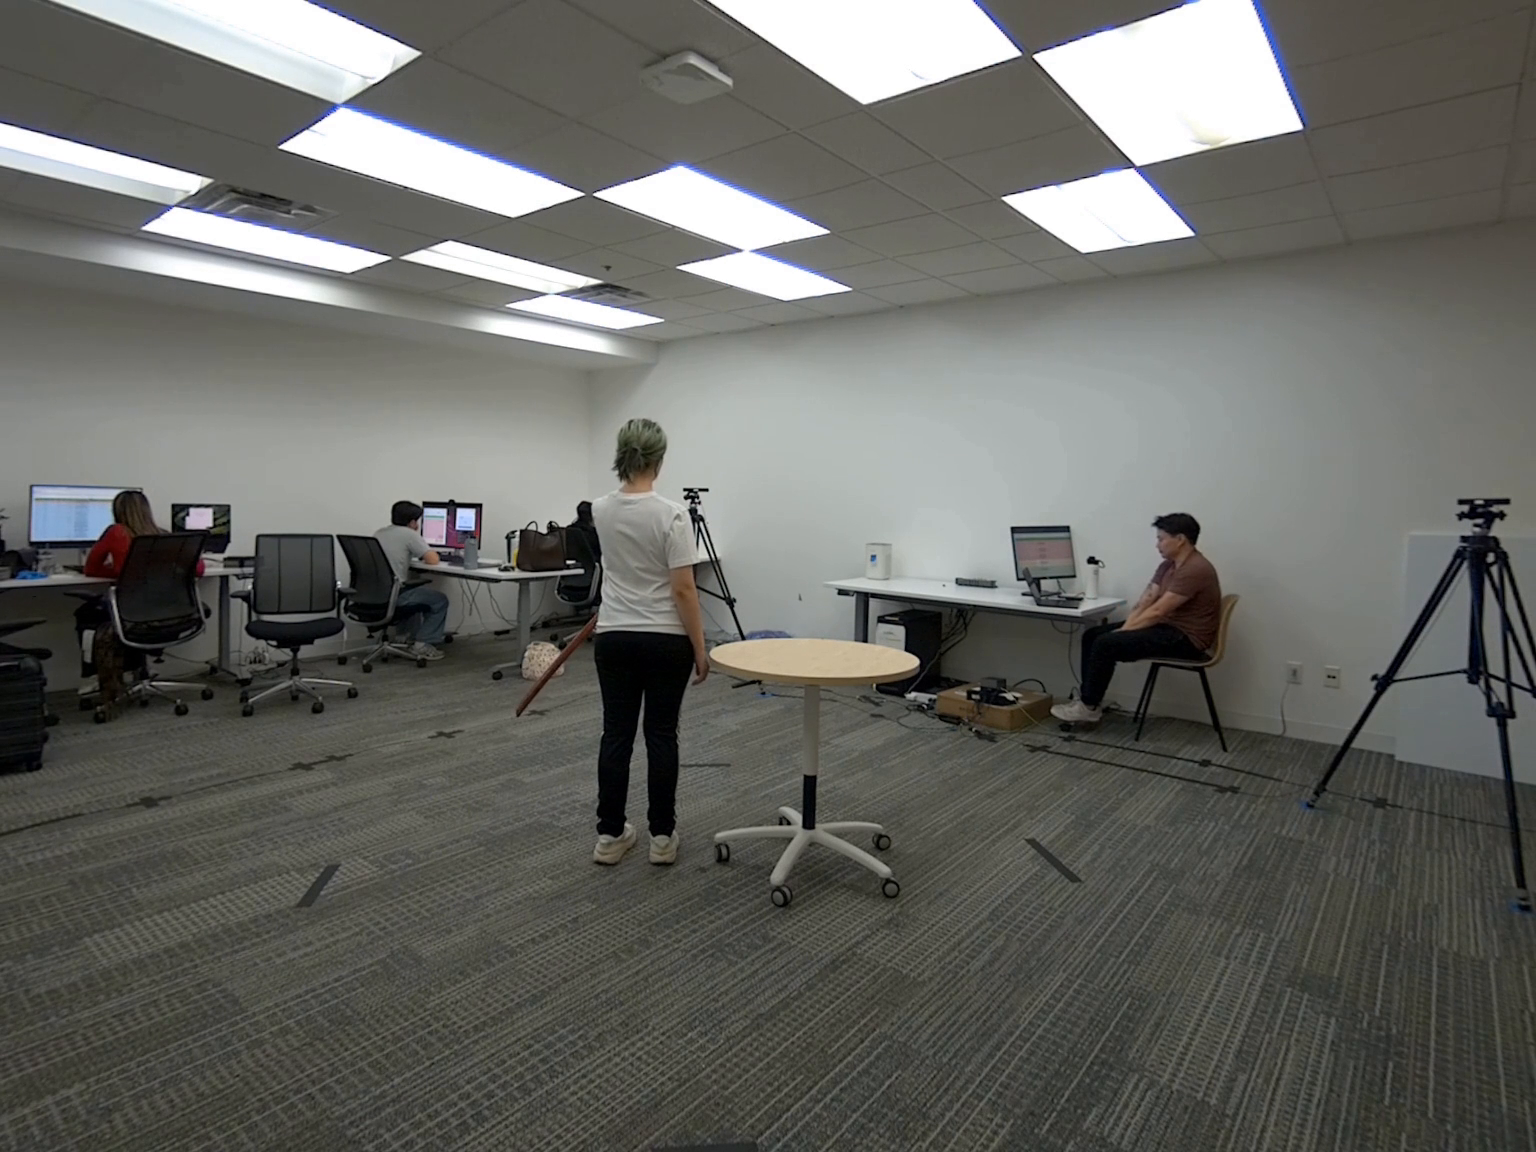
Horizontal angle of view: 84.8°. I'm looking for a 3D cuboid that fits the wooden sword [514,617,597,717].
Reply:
[{"bbox_3d":[-0.709,0.182,3.488,0.025,0.049,1.025,13,46,32],"label":"wooden sword"}]
